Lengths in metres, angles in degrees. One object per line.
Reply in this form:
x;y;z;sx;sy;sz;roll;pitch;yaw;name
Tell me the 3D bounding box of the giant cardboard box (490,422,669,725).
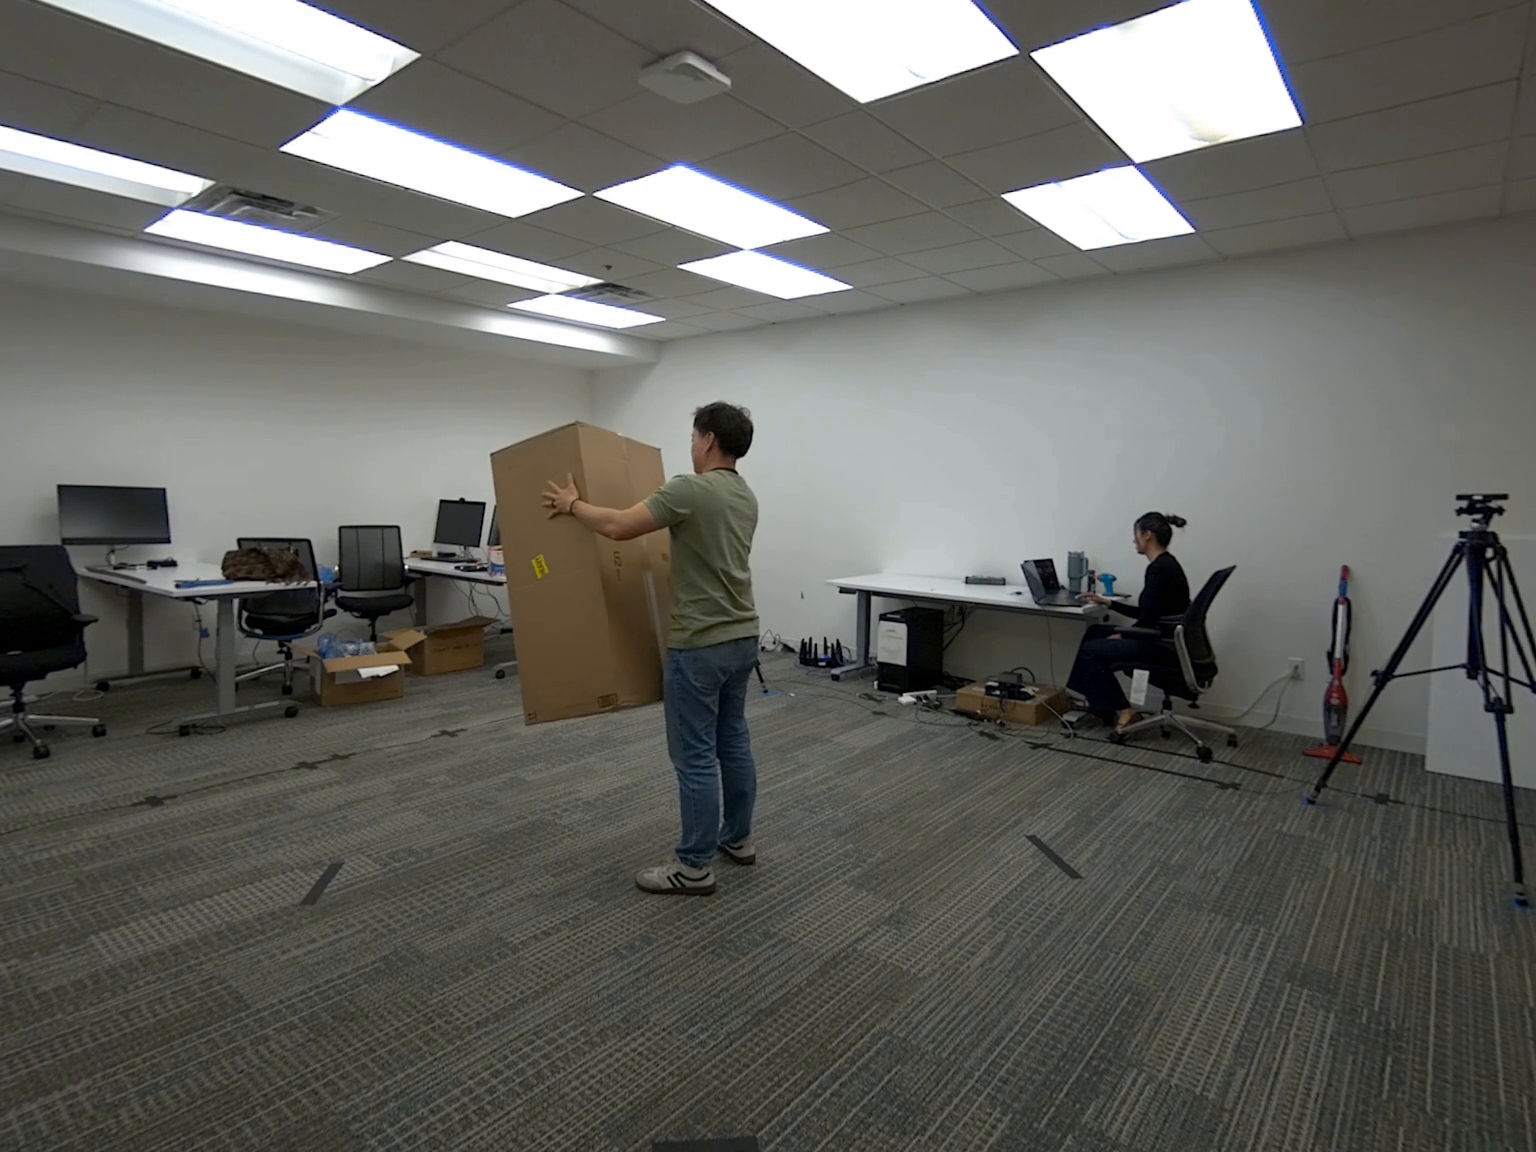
-0.666;0.004;3.282;0.434;1.039;0.560;-15;-11;24;giant cardboard box
